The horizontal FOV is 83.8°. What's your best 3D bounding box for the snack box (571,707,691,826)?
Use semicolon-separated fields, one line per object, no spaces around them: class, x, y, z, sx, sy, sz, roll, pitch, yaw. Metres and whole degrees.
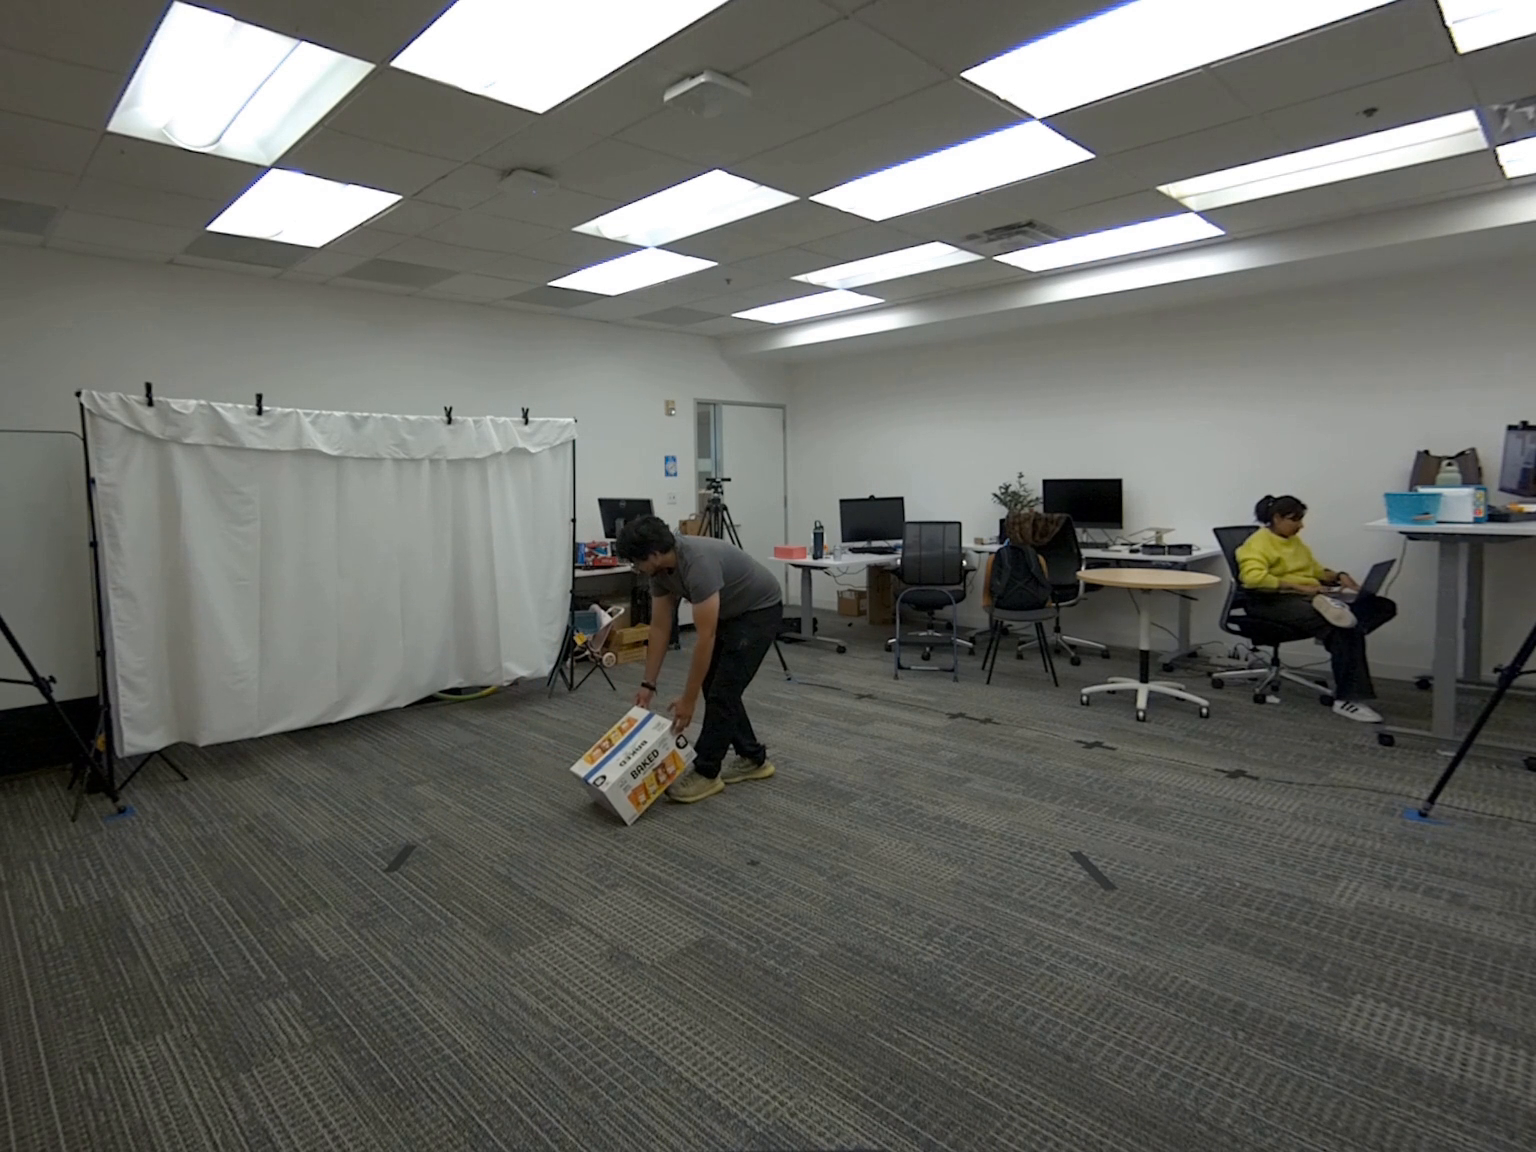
snack box;-0.574;0.796;3.649;0.404;0.200;0.350;-43;26;-25
